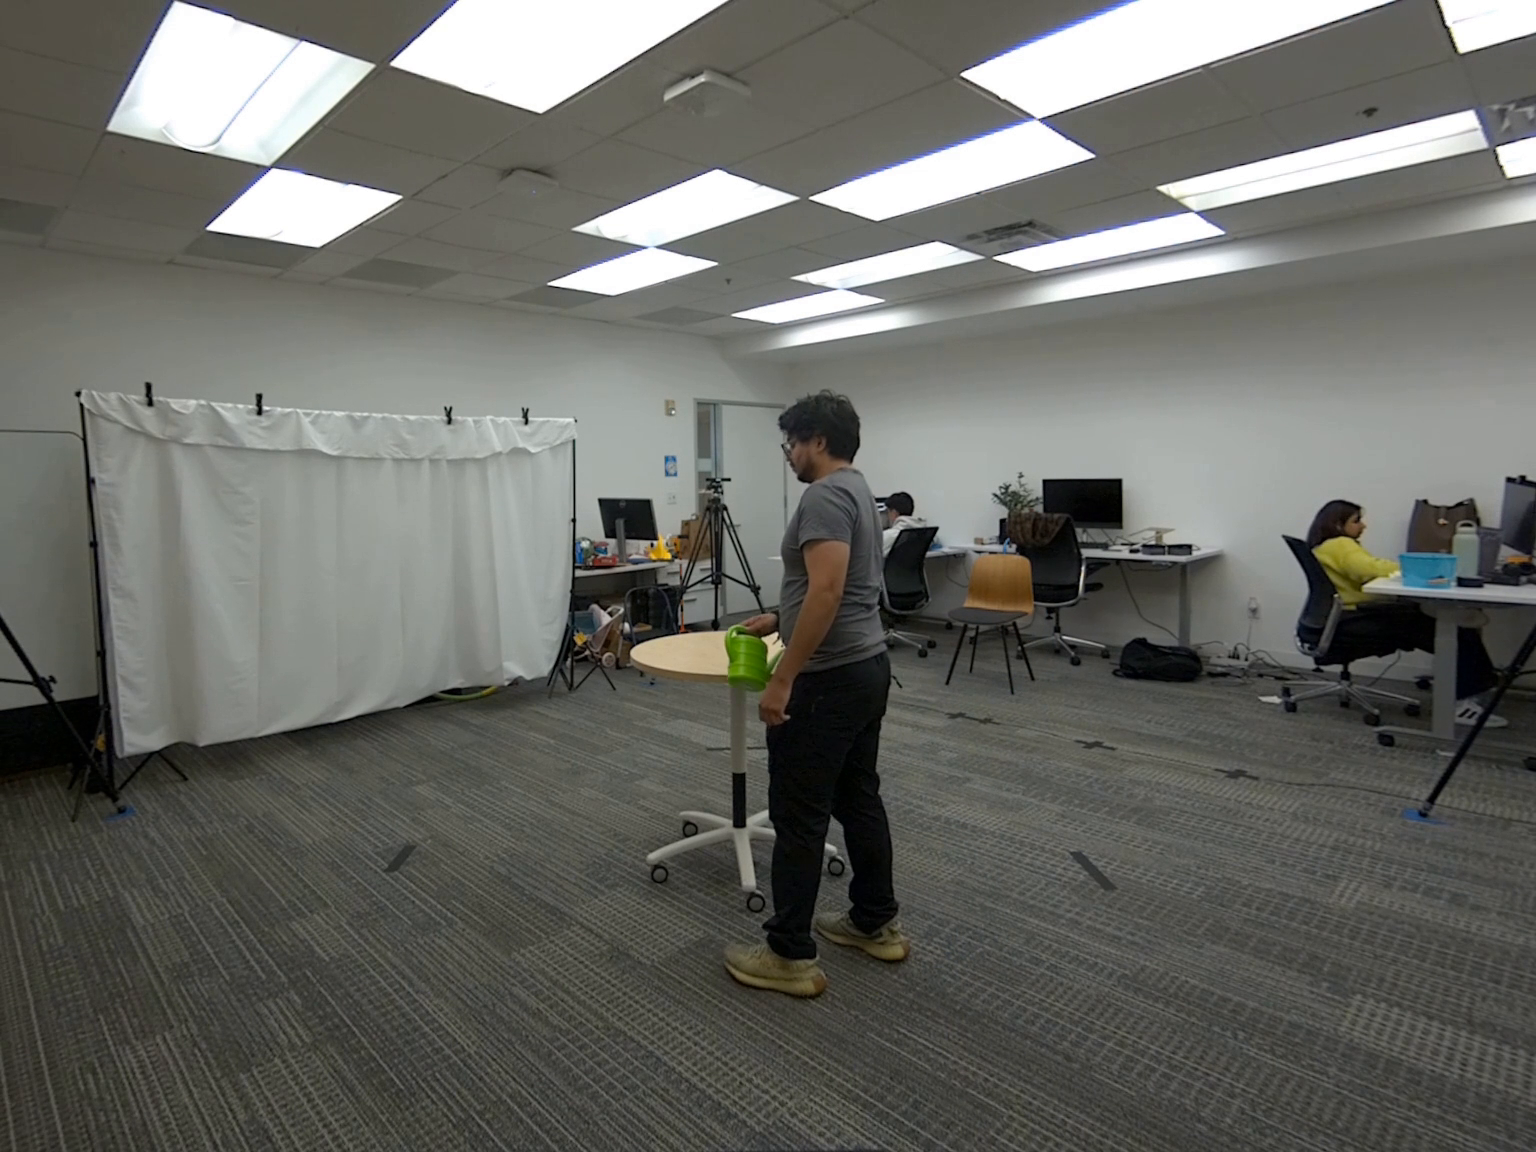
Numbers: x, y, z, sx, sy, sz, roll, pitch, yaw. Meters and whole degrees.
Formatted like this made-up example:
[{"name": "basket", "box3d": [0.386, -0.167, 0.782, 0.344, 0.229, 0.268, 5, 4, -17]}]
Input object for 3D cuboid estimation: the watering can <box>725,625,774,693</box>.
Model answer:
[{"name": "watering can", "box3d": [-0.017, 0.253, 2.539, 0.269, 0.181, 0.099, 20, -35, -30]}]
